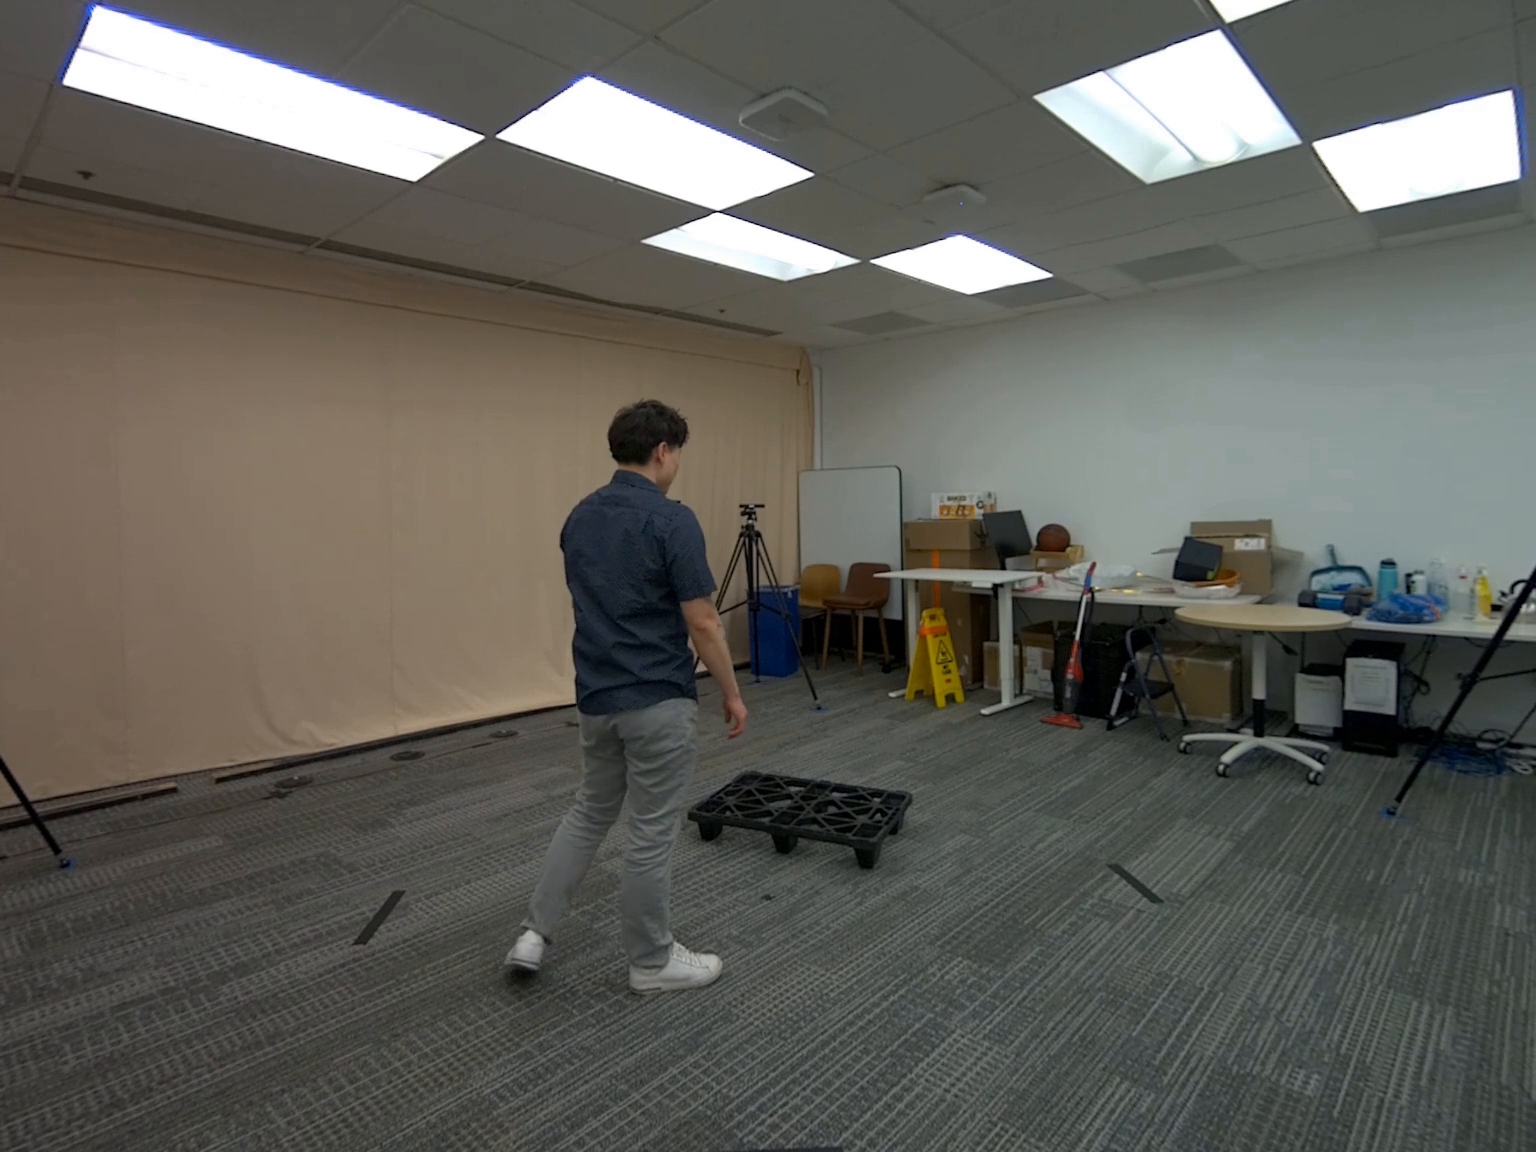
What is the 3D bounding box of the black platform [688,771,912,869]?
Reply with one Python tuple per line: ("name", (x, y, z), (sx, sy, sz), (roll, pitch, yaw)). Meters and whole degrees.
("black platform", (0.151, 1.018, 3.550), (0.826, 0.143, 0.591), (1, 5, 25))
